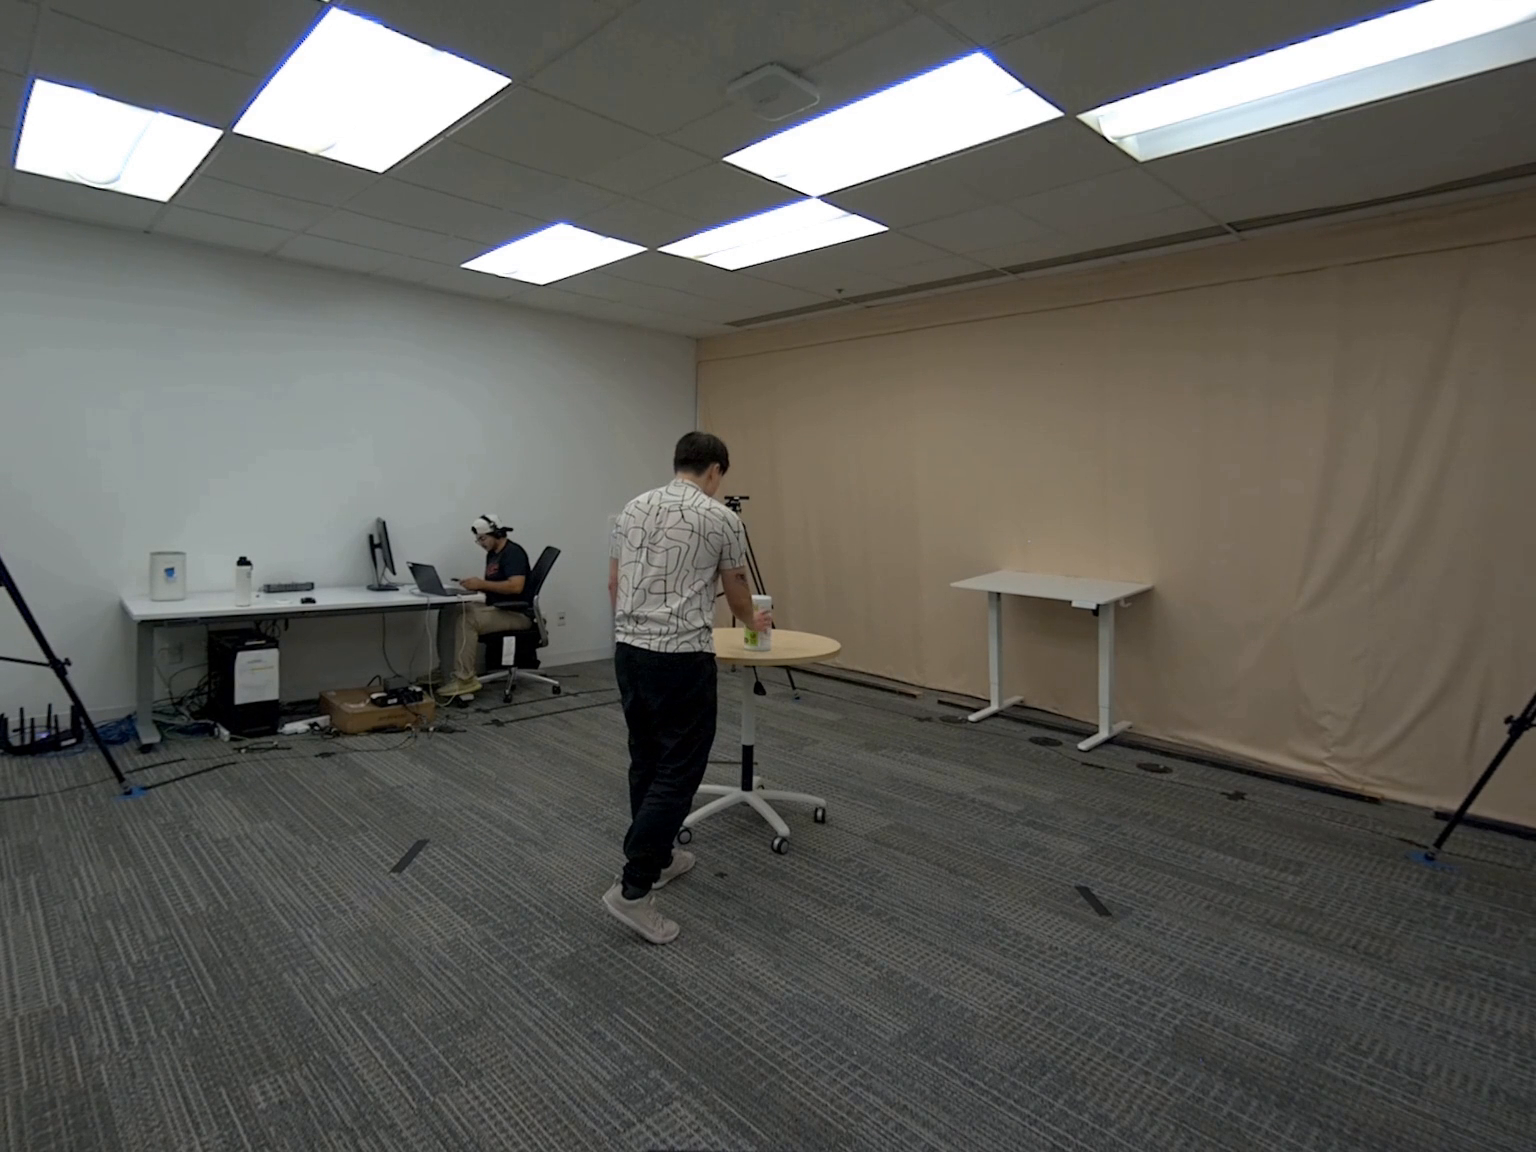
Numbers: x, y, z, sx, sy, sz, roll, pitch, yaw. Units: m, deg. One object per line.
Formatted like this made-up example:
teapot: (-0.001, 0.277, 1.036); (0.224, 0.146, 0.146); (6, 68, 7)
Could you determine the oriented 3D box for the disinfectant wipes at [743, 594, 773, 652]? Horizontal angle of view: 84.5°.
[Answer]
disinfectant wipes: (-0.046, 0.192, 3.418); (0.118, 0.217, 0.118); (1, 2, -1)
